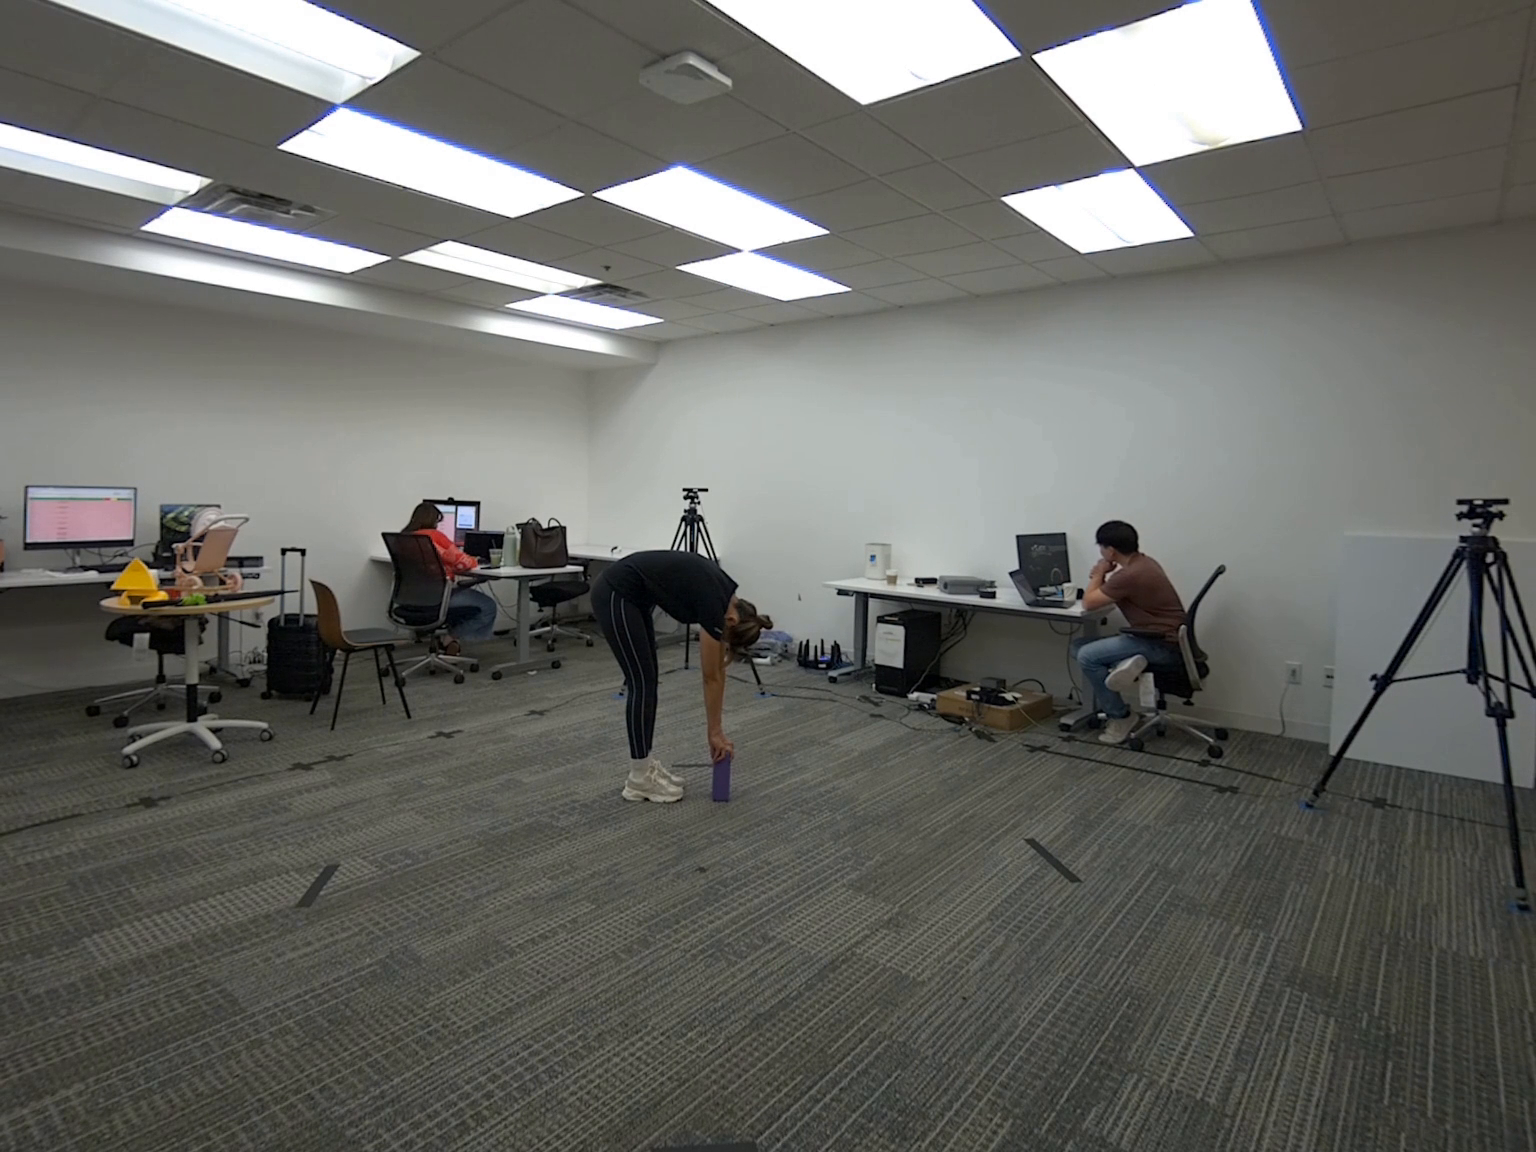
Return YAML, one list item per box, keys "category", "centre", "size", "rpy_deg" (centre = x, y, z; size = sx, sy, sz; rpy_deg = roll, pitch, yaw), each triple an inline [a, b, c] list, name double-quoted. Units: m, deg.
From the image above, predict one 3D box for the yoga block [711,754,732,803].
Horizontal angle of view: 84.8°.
- category: "yoga block"
  centre: [-0.220, 0.889, 3.857]
  size: [0.076, 0.228, 0.150]
  rpy_deg: [0, 5, -4]
